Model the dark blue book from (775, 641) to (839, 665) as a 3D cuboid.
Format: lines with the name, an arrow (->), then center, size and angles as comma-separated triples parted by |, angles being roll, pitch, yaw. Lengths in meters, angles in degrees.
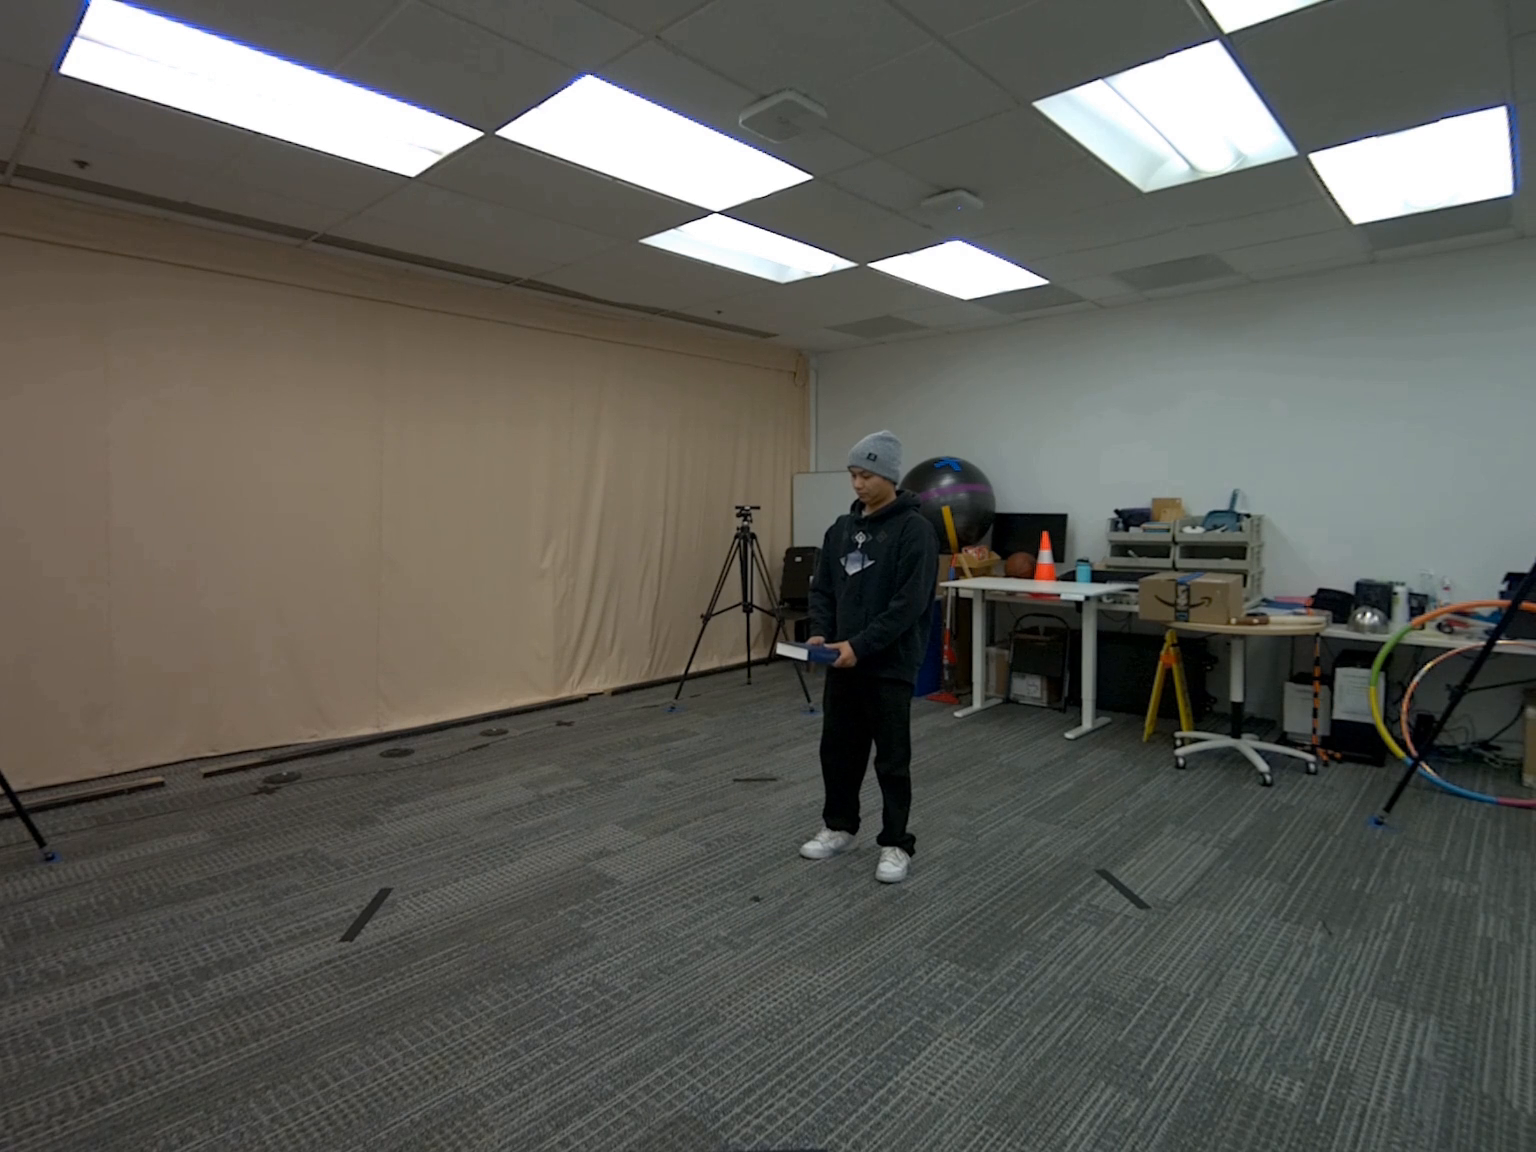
dark blue book -> 0.173, 0.284, 3.044 | 0.237, 0.045, 0.169 | 8, 0, -44
